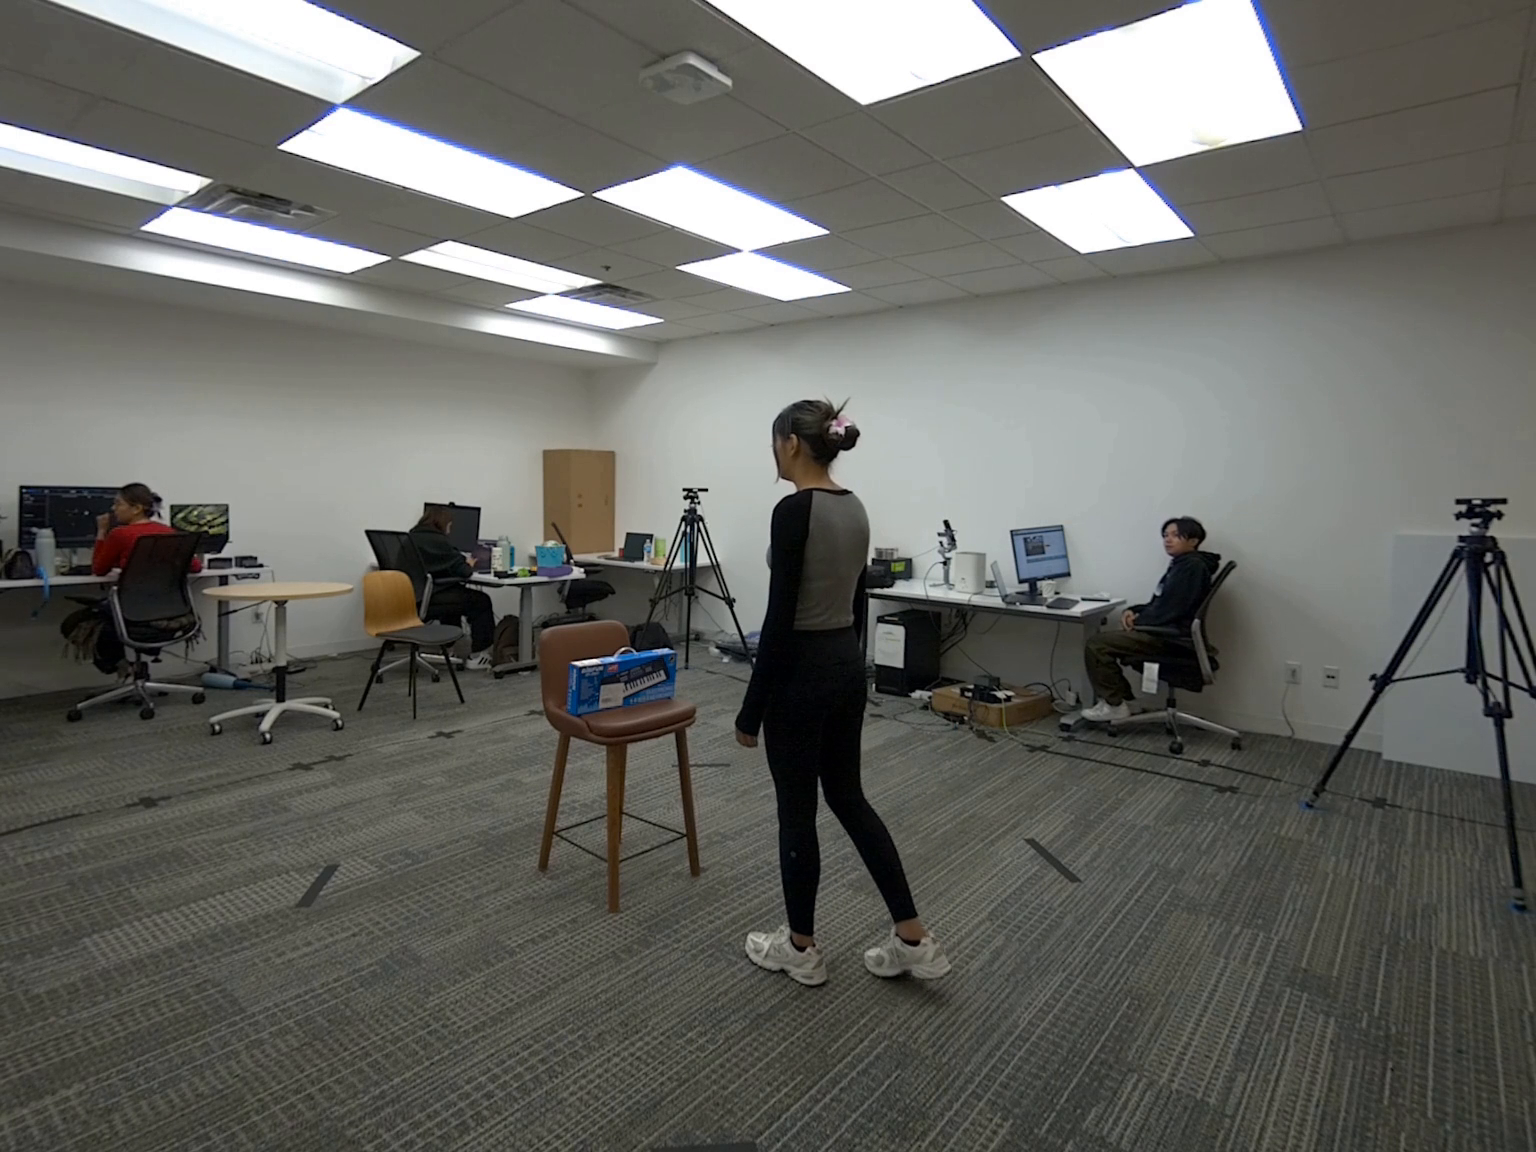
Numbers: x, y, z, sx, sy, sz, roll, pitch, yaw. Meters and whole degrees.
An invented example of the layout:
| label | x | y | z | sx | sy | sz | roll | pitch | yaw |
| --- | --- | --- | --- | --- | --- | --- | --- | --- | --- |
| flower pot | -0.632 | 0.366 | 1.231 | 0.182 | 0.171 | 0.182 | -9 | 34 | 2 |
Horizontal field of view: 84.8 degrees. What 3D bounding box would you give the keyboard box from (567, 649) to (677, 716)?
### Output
| label | x | y | z | sx | sy | sz | roll | pitch | yaw |
| --- | --- | --- | --- | --- | --- | --- | --- | --- | --- |
| keyboard box | -0.525 | 0.371 | 3.036 | 0.061 | 0.175 | 0.424 | 10 | 11 | 44 |
